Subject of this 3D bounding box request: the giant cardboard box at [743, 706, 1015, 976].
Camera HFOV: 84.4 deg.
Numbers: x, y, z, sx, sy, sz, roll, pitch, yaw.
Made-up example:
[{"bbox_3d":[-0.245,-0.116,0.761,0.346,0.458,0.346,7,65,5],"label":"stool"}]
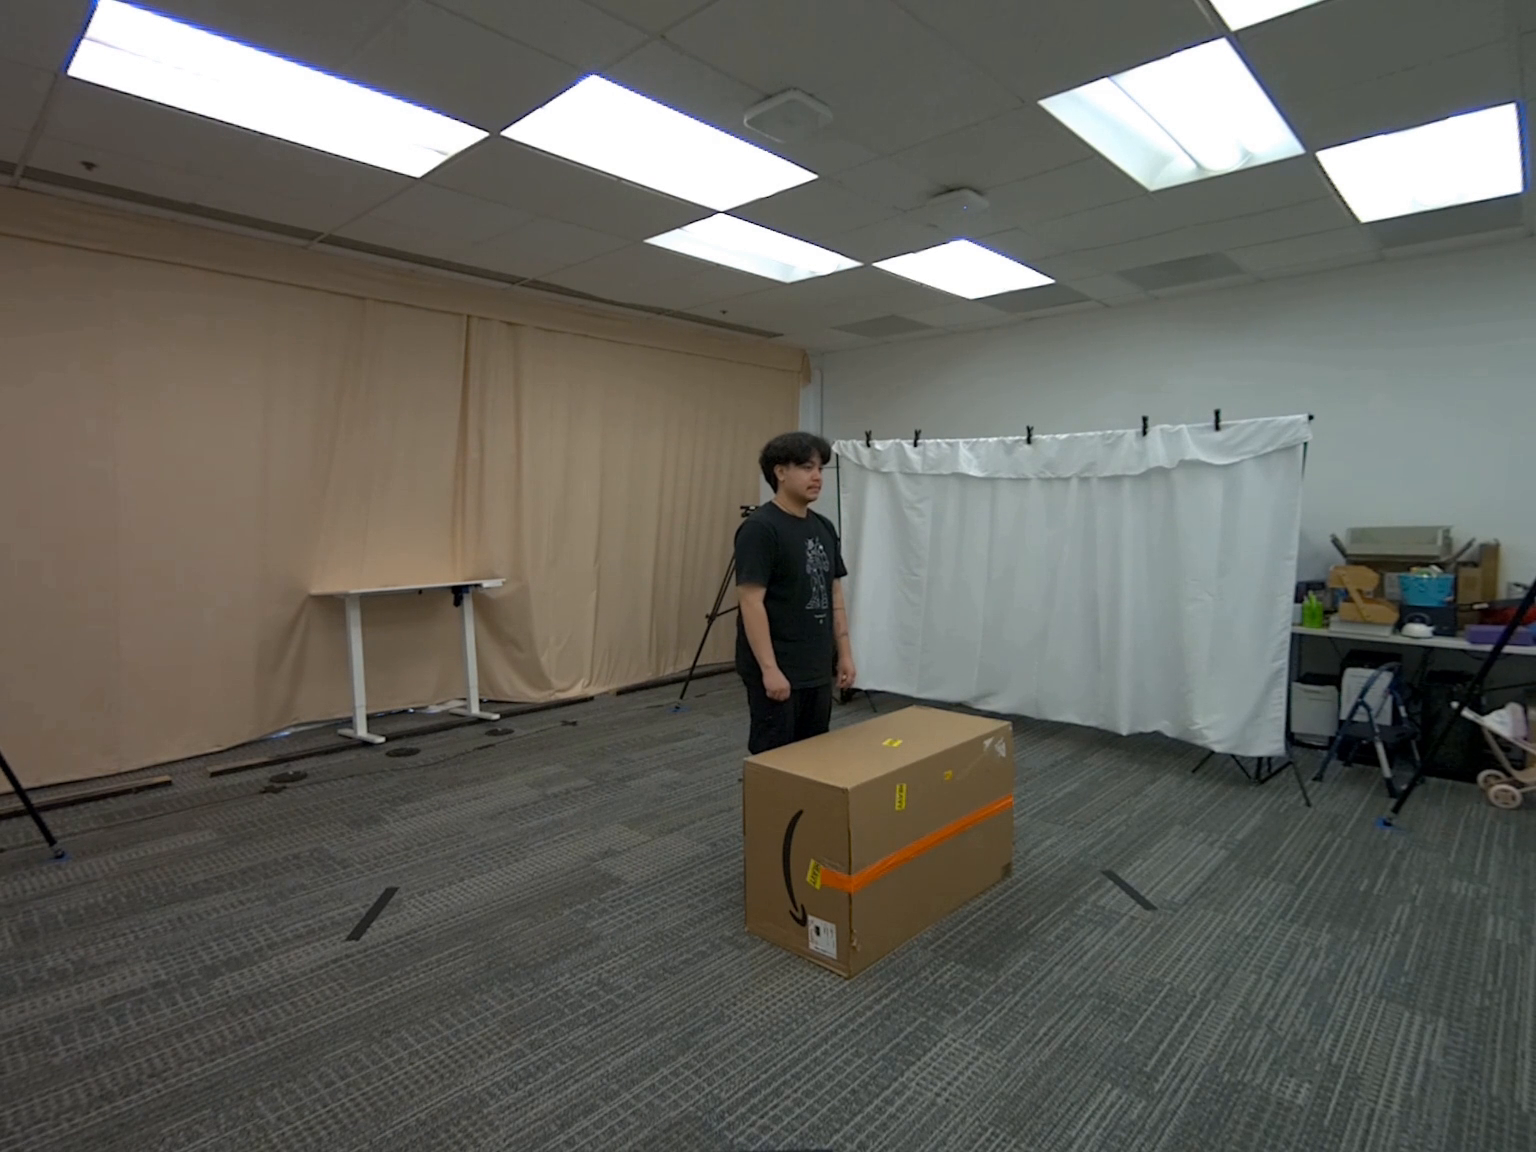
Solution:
[{"bbox_3d":[0.429,0.861,2.953,0.462,0.582,0.996,4,7,43],"label":"giant cardboard box"}]
